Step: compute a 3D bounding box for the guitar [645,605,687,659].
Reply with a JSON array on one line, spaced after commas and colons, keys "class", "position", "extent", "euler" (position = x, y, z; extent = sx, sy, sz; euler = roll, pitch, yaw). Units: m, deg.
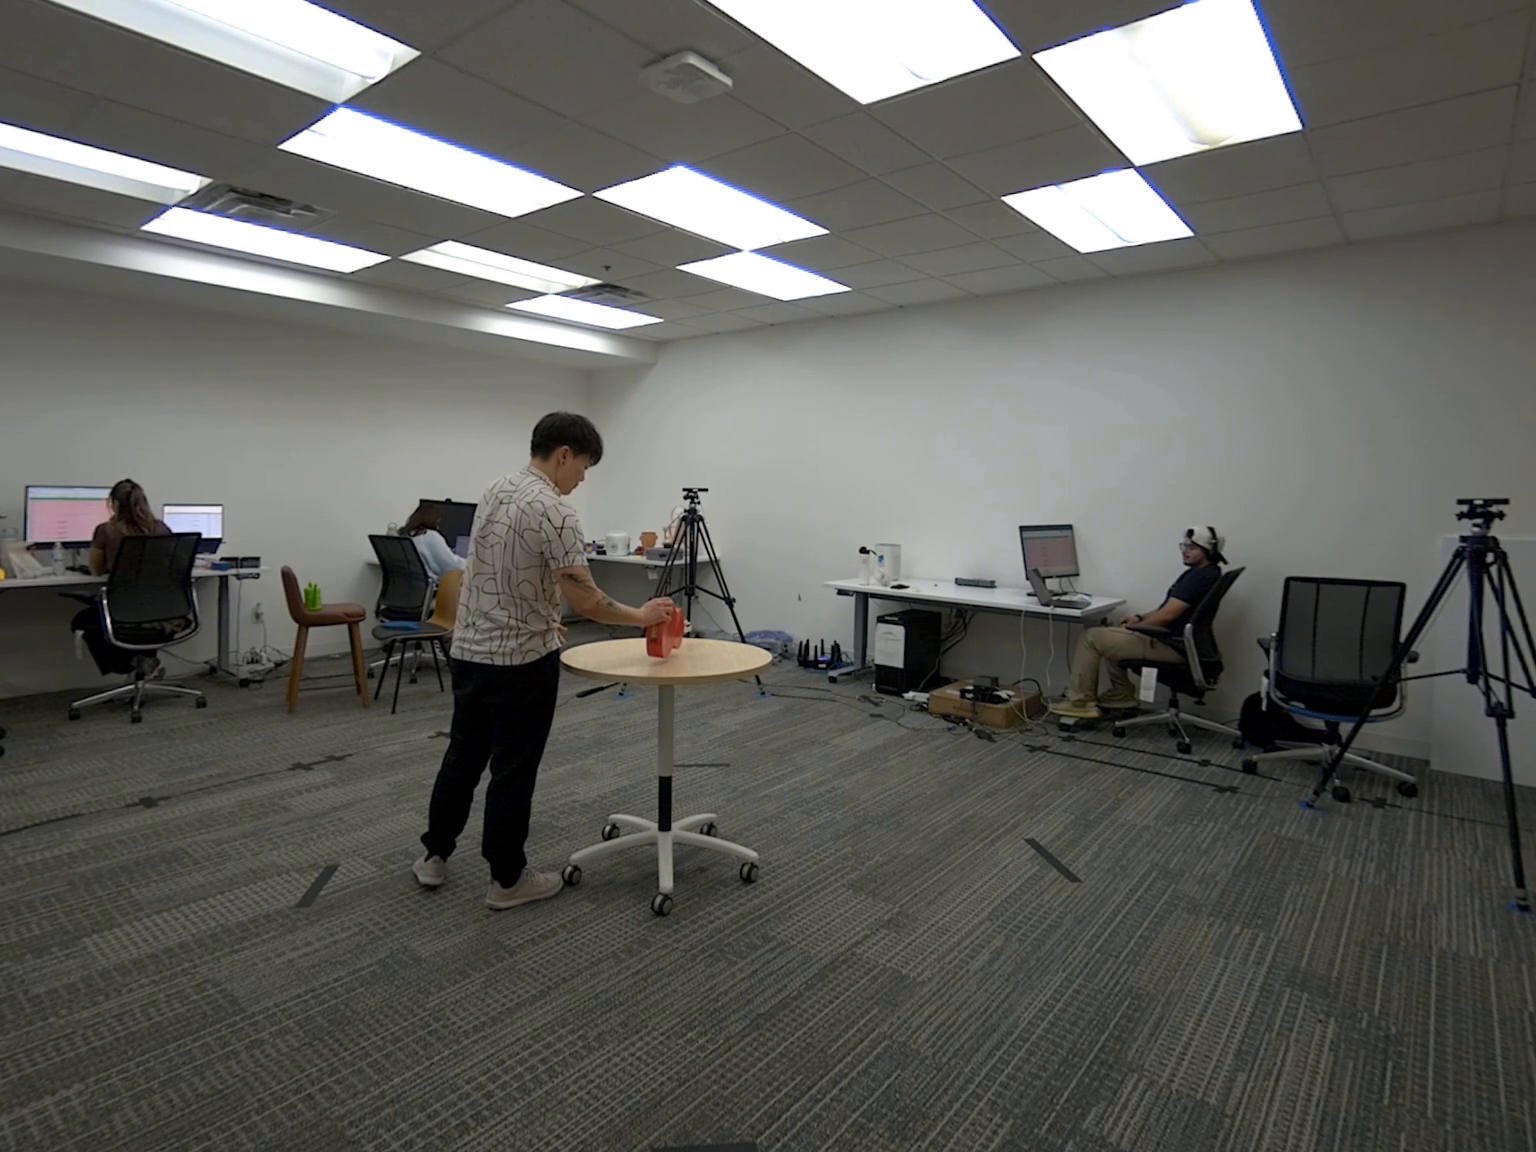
[{"class": "guitar", "position": [-0.349, 0.162, 3.117], "extent": [0.071, 0.192, 0.495], "euler": [3, 7, 8]}]
